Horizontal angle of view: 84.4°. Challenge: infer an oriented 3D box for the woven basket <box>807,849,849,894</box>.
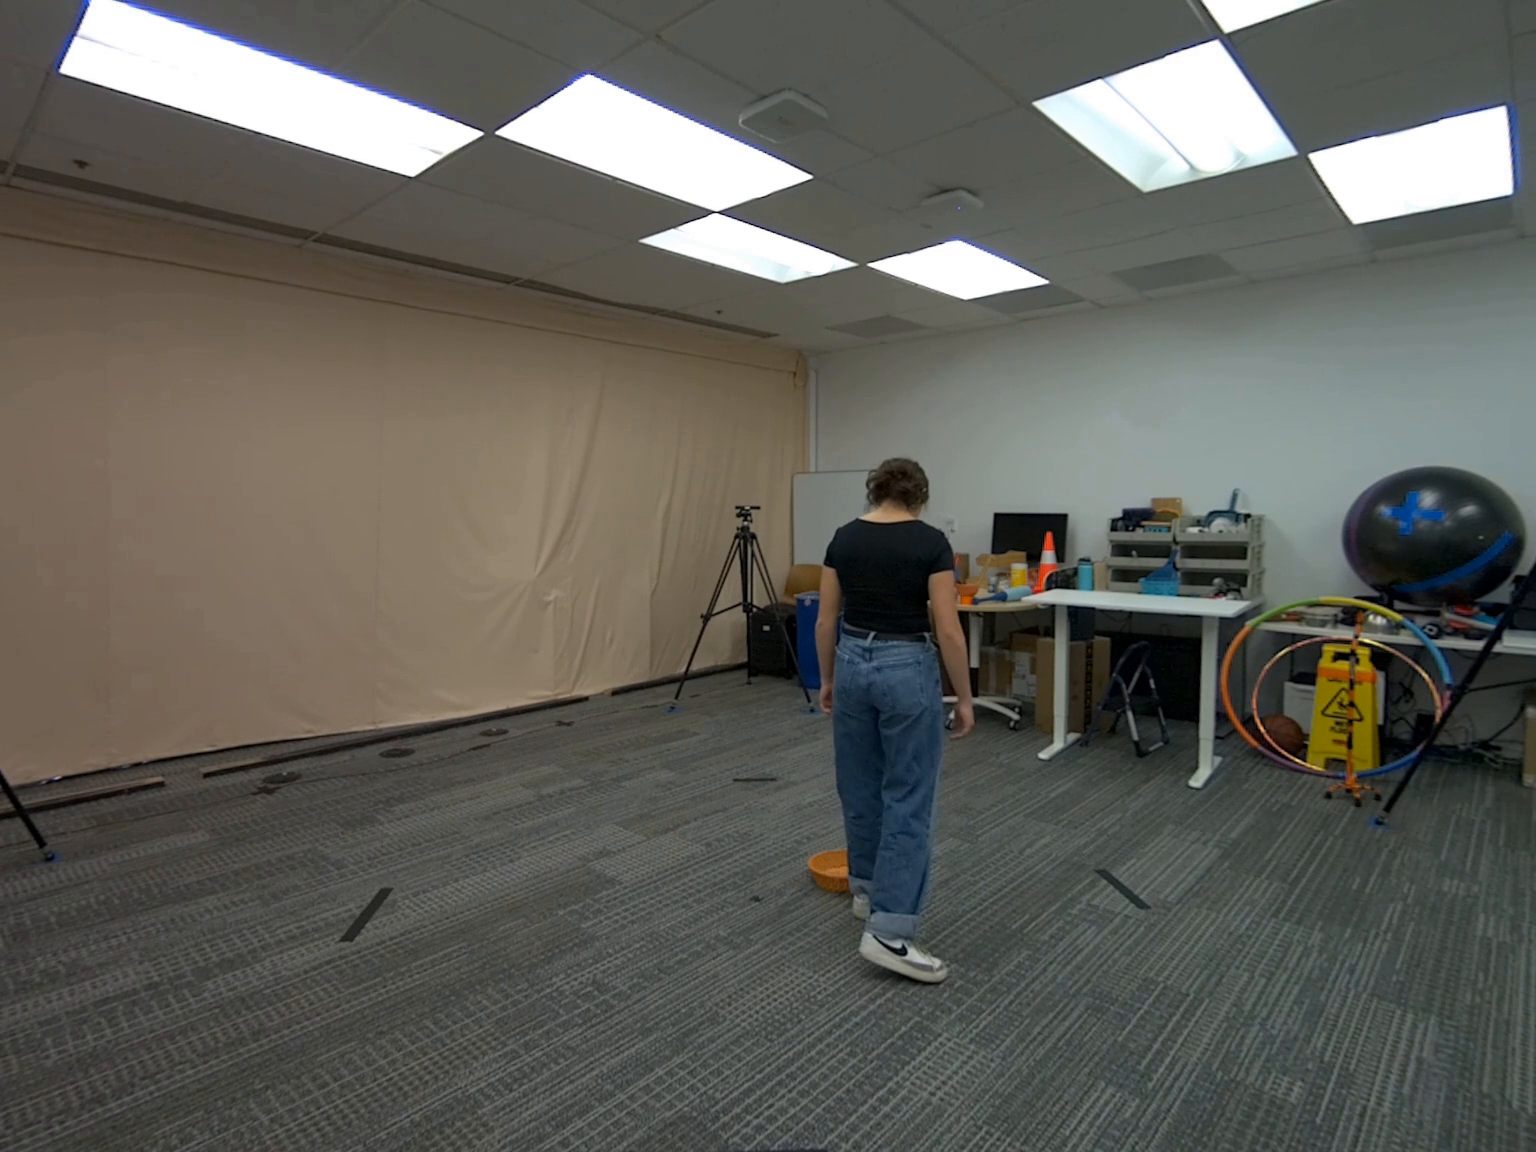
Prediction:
[{"bbox_3d":[0.318,1.094,3.127,0.346,0.073,0.256,-1,4,-13],"label":"woven basket"}]
